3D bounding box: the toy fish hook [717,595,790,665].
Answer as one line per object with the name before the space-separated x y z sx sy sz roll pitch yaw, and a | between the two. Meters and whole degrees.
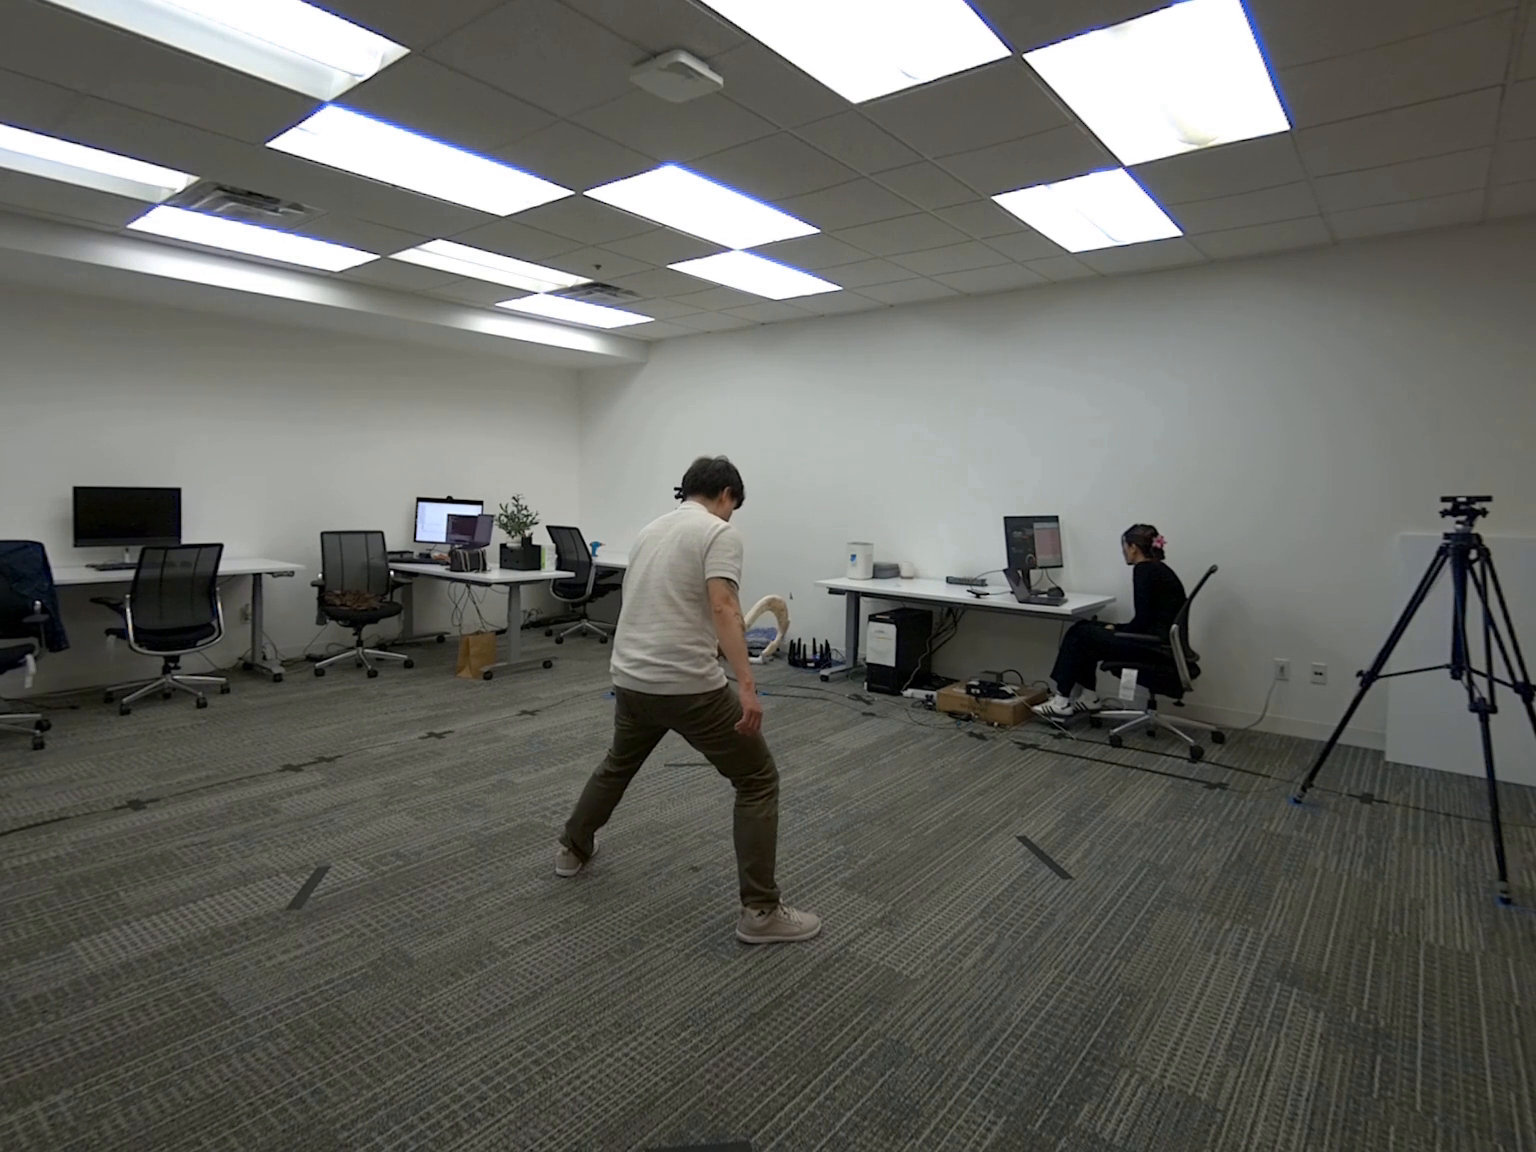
toy fish hook | -0.082 0.265 3.257 0.050 0.220 0.502 -1 28 47
